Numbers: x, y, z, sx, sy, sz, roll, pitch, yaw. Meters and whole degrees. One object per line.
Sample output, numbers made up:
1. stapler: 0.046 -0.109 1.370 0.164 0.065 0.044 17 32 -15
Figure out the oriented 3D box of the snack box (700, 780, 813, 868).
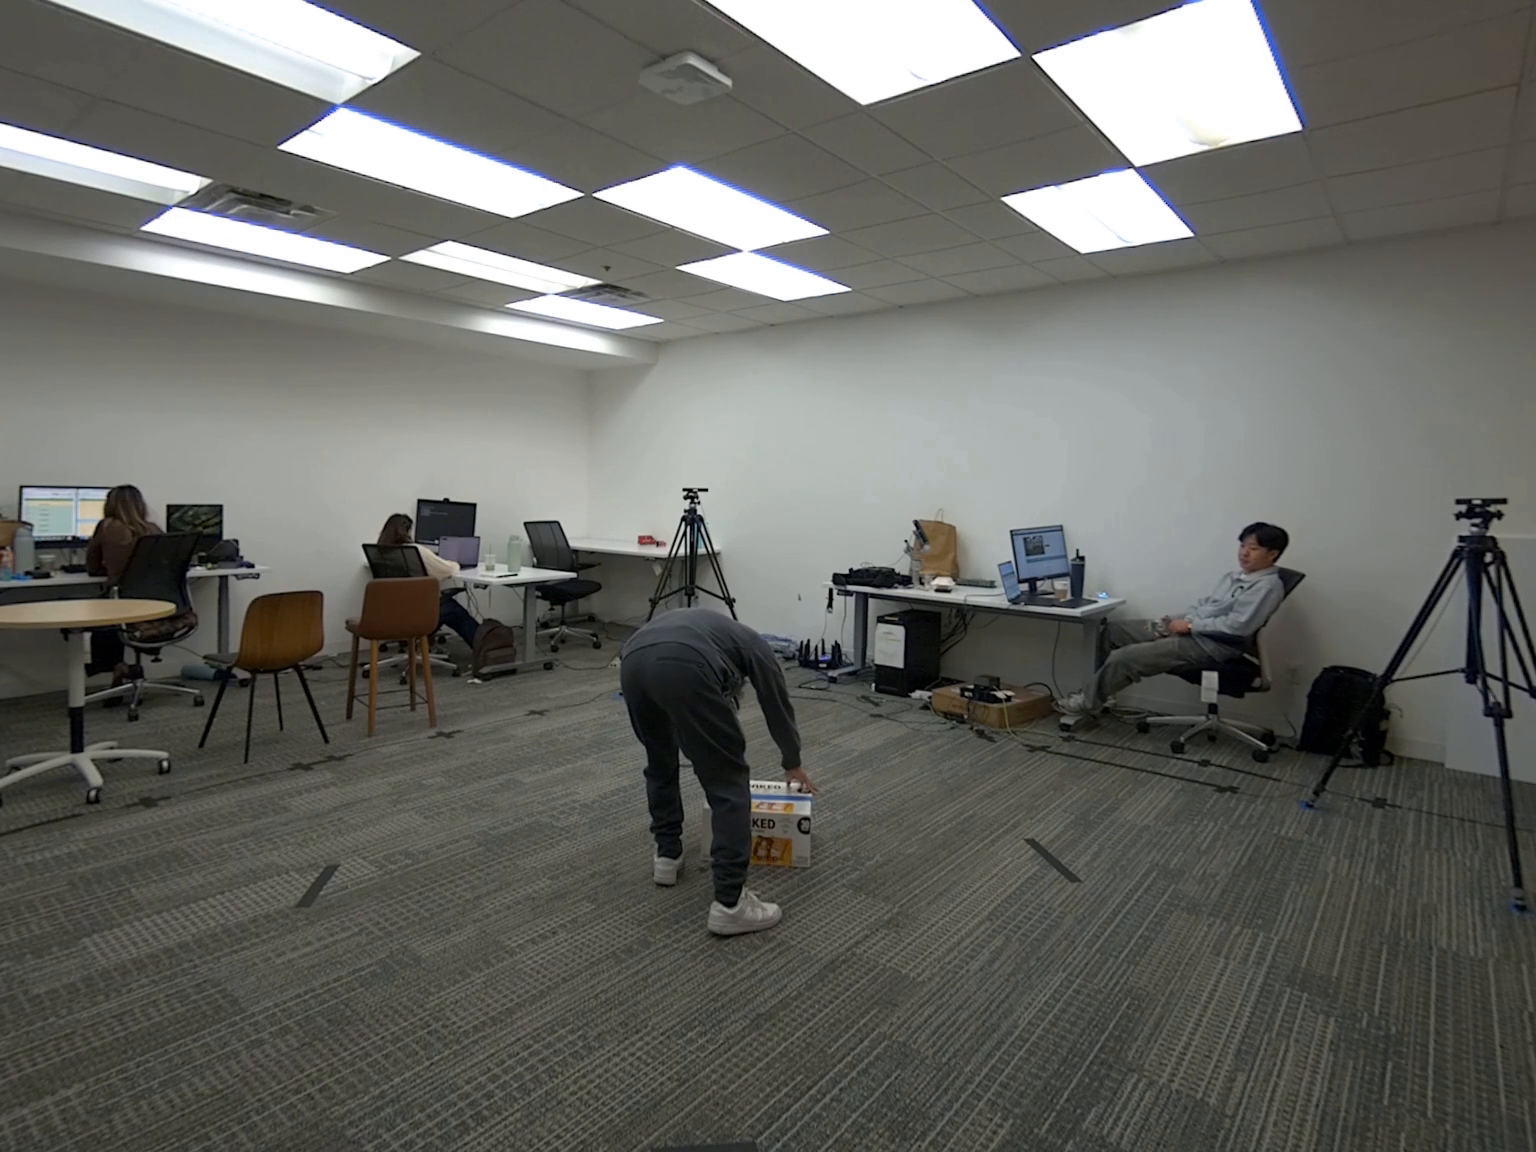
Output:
1. snack box: -0.040 0.955 3.317 0.408 0.205 0.339 1 5 6
